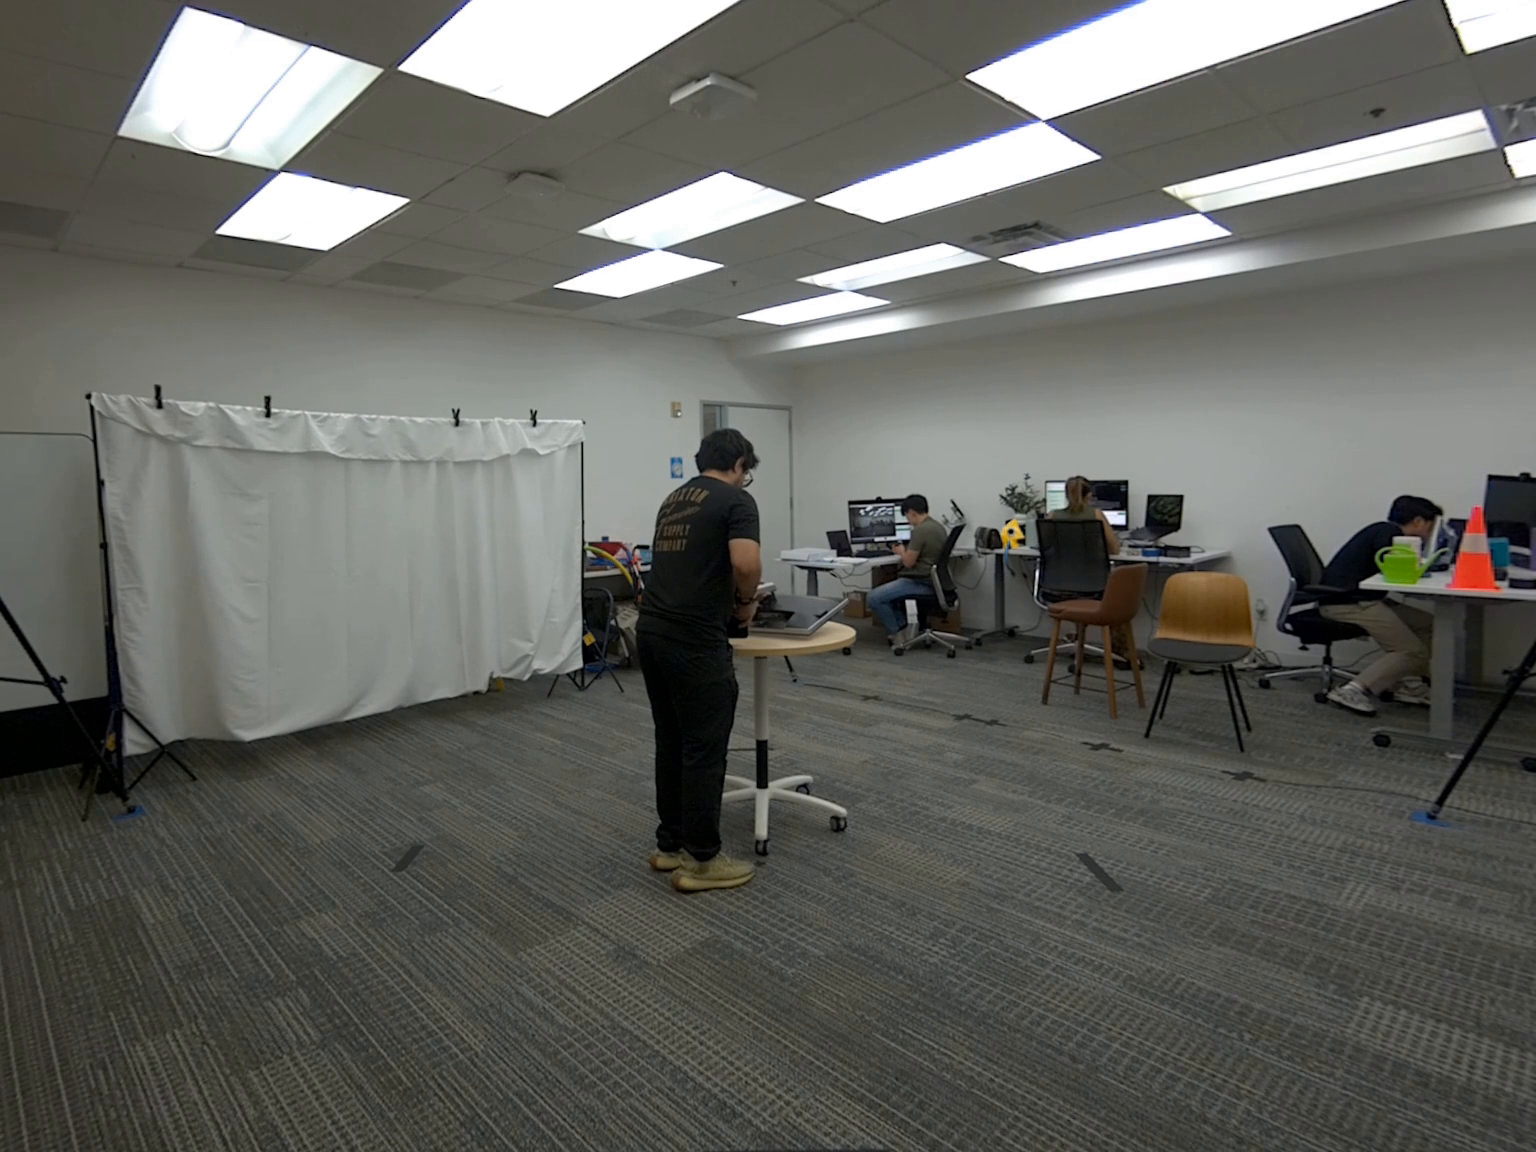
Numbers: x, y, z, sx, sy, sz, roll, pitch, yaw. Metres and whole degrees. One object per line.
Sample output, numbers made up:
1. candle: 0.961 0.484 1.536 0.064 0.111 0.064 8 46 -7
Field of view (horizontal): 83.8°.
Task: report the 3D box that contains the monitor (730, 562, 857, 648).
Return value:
1. monitor: -0.035 0.097 3.435 0.581 0.208 0.543 0 11 34
